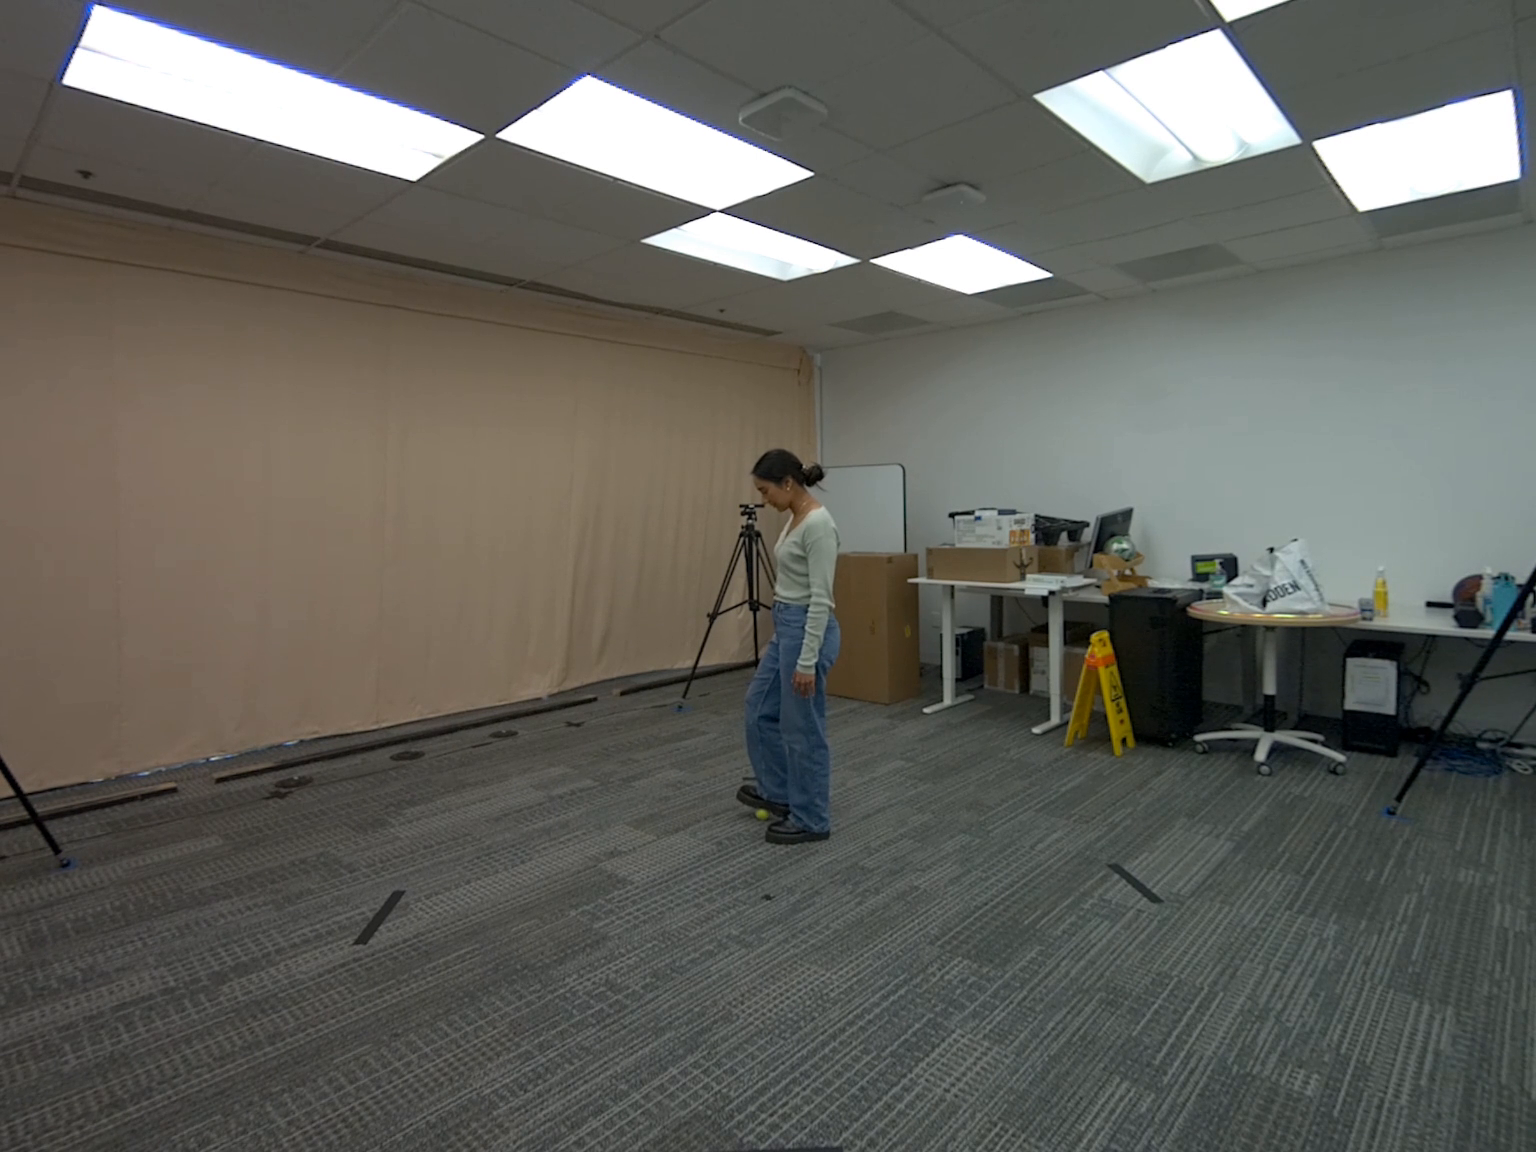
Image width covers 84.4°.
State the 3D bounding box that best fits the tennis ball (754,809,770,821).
[{"bbox_3d":[-0.017,1.053,3.739,0.066,0.066,0.067,-1,4,-2],"label":"tennis ball"}]
